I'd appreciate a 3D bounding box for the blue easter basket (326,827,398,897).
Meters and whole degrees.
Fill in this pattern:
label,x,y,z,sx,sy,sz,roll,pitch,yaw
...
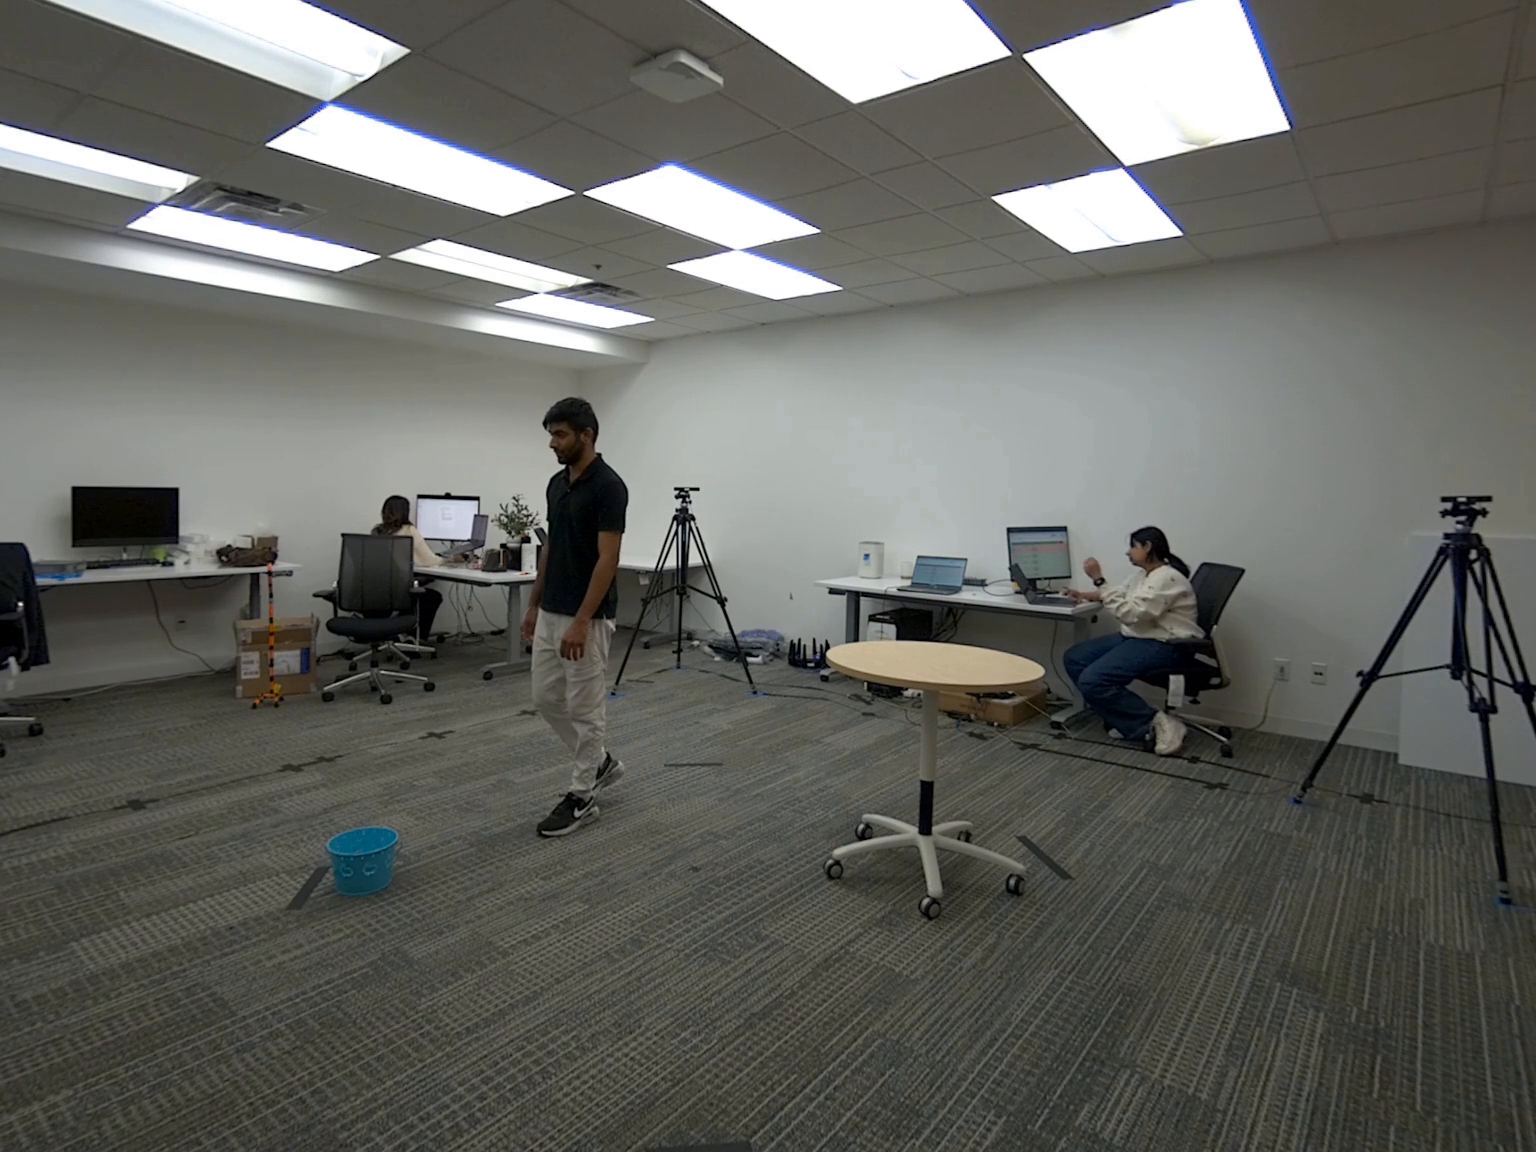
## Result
label,x,y,z,sx,sy,sz,roll,pitch,yaw
blue easter basket,-1.417,0.989,2.961,0.243,0.155,0.245,1,6,-2
